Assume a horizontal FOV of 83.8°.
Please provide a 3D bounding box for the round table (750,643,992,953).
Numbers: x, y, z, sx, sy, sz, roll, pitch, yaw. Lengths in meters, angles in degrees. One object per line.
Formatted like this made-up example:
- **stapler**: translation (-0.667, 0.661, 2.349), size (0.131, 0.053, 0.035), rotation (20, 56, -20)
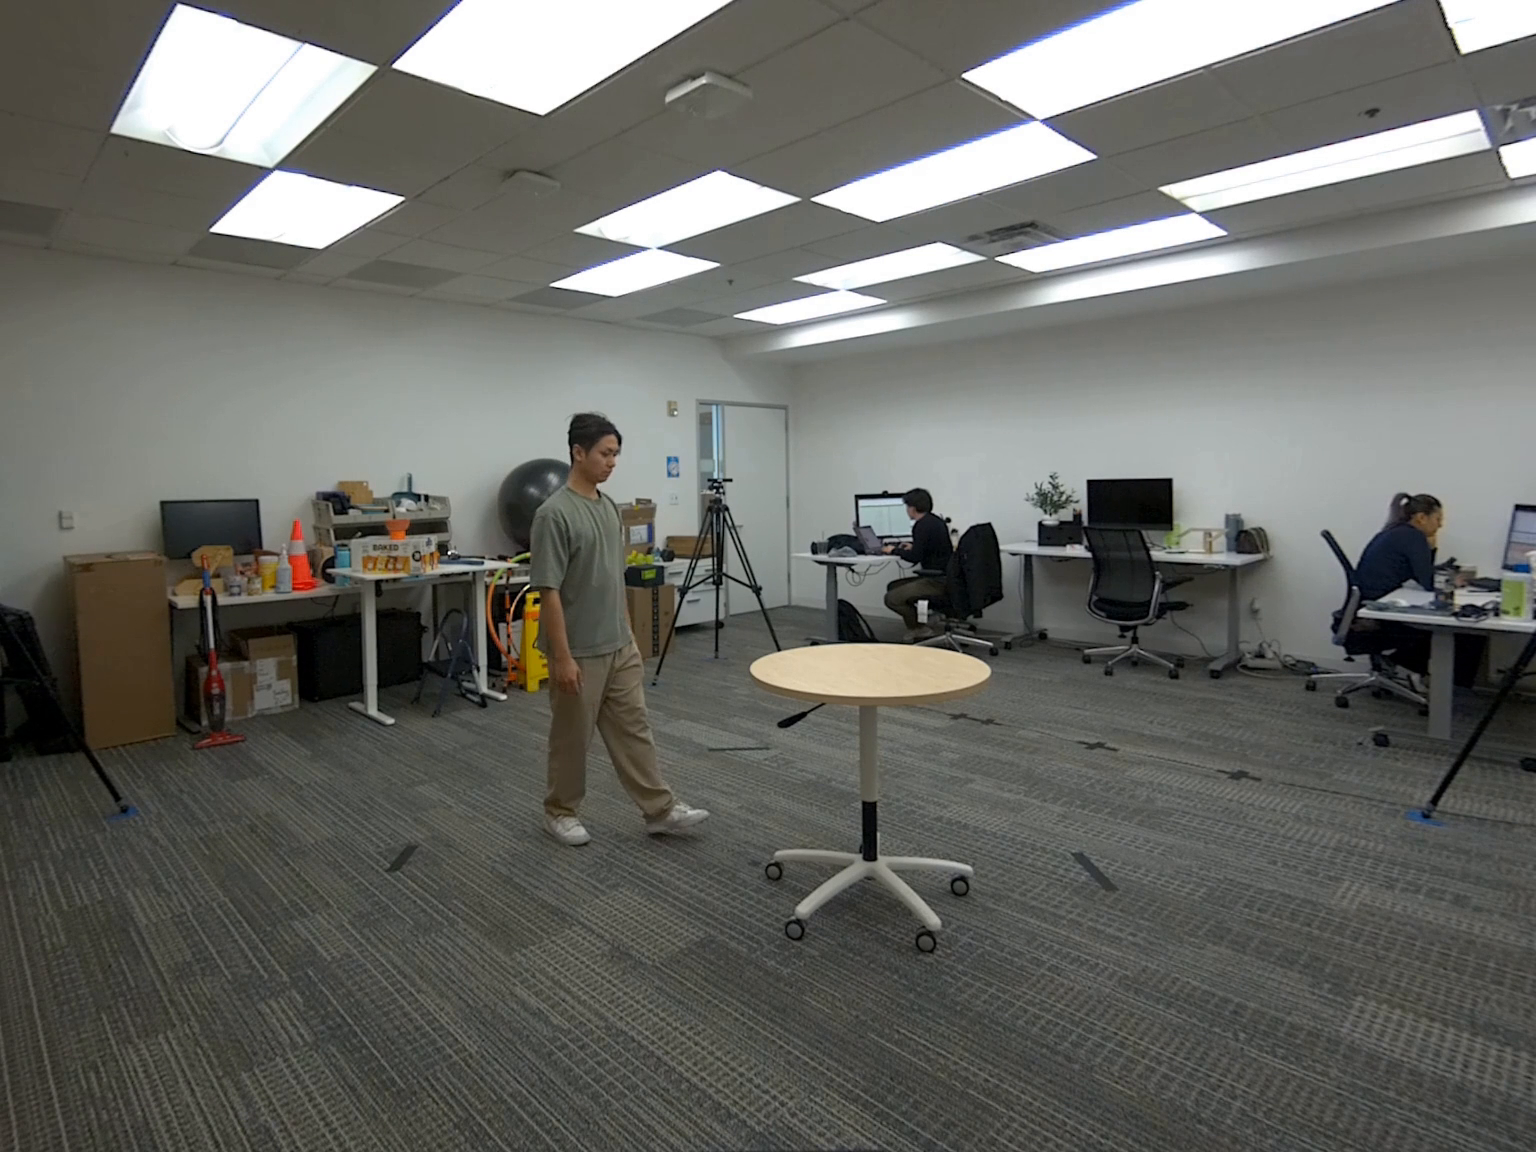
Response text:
- **round table**: translation (0.336, 0.681, 2.811), size (0.784, 0.783, 0.789), rotation (-1, 5, -2)
